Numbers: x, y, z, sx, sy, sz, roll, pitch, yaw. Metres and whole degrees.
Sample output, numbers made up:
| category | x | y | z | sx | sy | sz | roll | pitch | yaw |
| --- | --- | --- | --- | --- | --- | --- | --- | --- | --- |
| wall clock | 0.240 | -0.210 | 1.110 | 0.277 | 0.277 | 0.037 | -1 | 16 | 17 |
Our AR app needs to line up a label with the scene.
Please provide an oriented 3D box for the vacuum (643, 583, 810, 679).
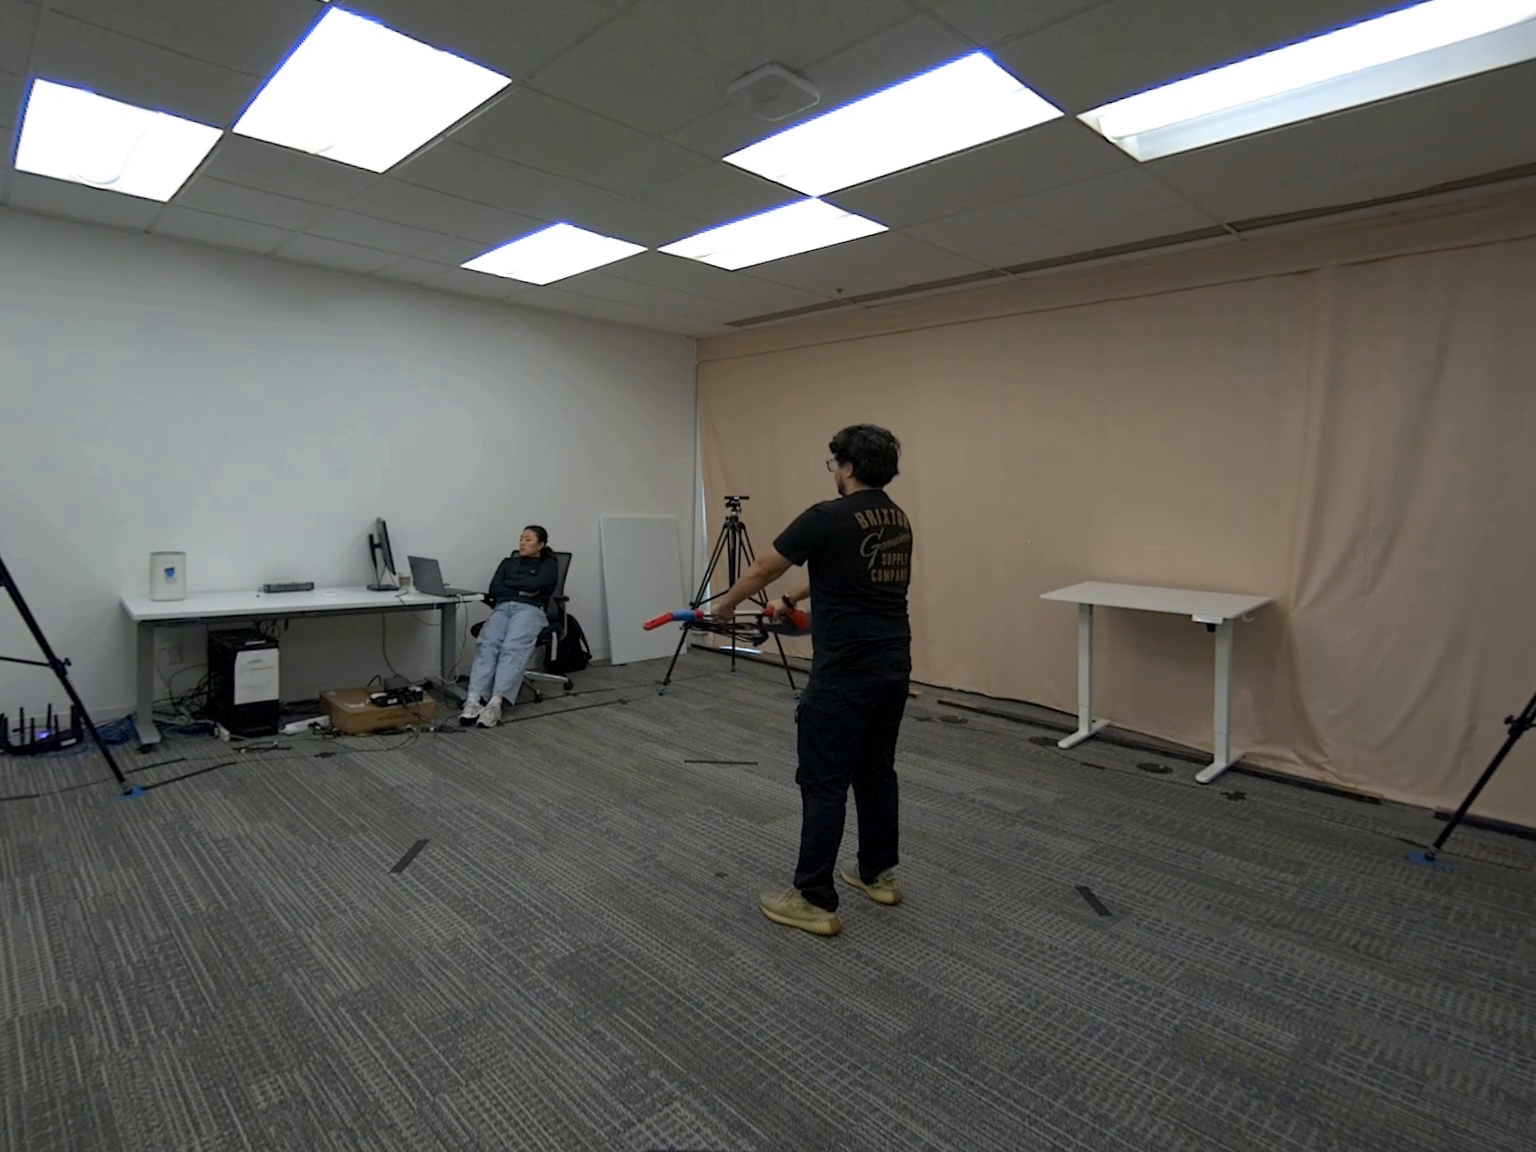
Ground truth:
| category | x | y | z | sx | sy | sz | roll | pitch | yaw |
| --- | --- | --- | --- | --- | --- | --- | --- | --- | --- |
| vacuum | -0.039 | 0.187 | 3.221 | 1.024 | 0.143 | 0.260 | 0 | 32 | -44 |
